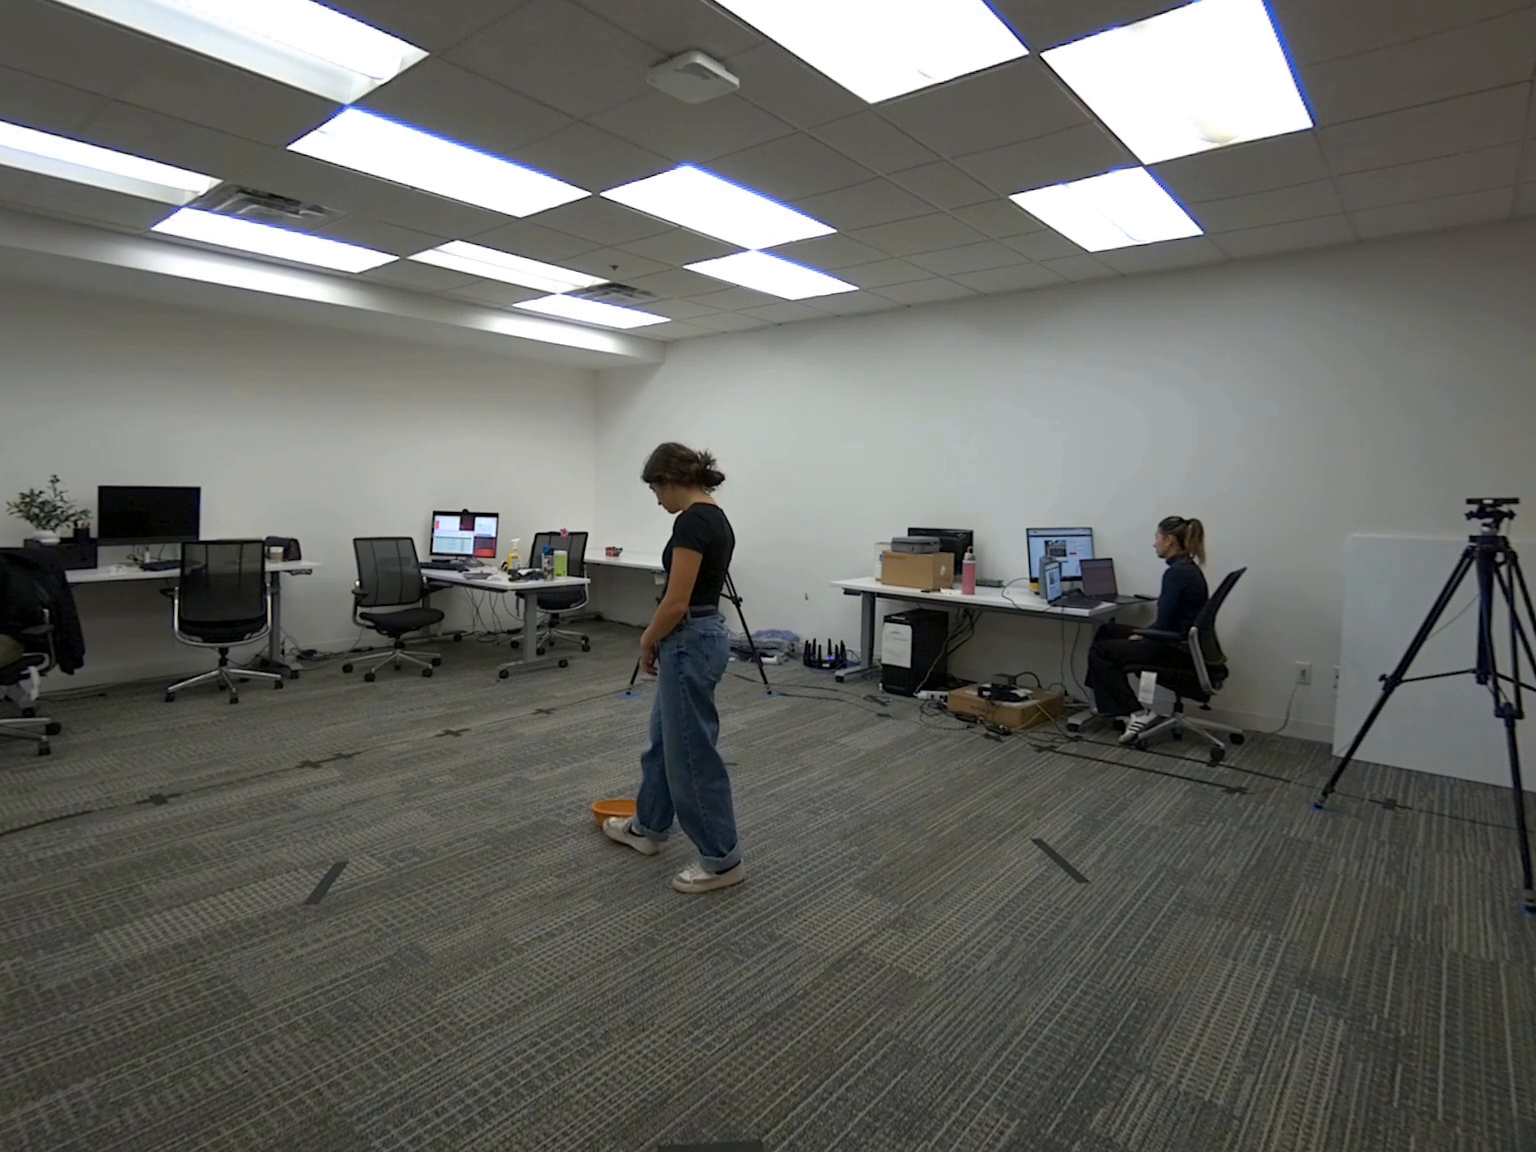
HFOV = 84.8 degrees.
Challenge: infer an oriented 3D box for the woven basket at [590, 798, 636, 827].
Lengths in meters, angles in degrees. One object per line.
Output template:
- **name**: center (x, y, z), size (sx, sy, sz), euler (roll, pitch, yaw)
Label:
- **woven basket**: center (-0.569, 0.973, 3.472), size (0.354, 0.073, 0.249), euler (2, -2, 10)
